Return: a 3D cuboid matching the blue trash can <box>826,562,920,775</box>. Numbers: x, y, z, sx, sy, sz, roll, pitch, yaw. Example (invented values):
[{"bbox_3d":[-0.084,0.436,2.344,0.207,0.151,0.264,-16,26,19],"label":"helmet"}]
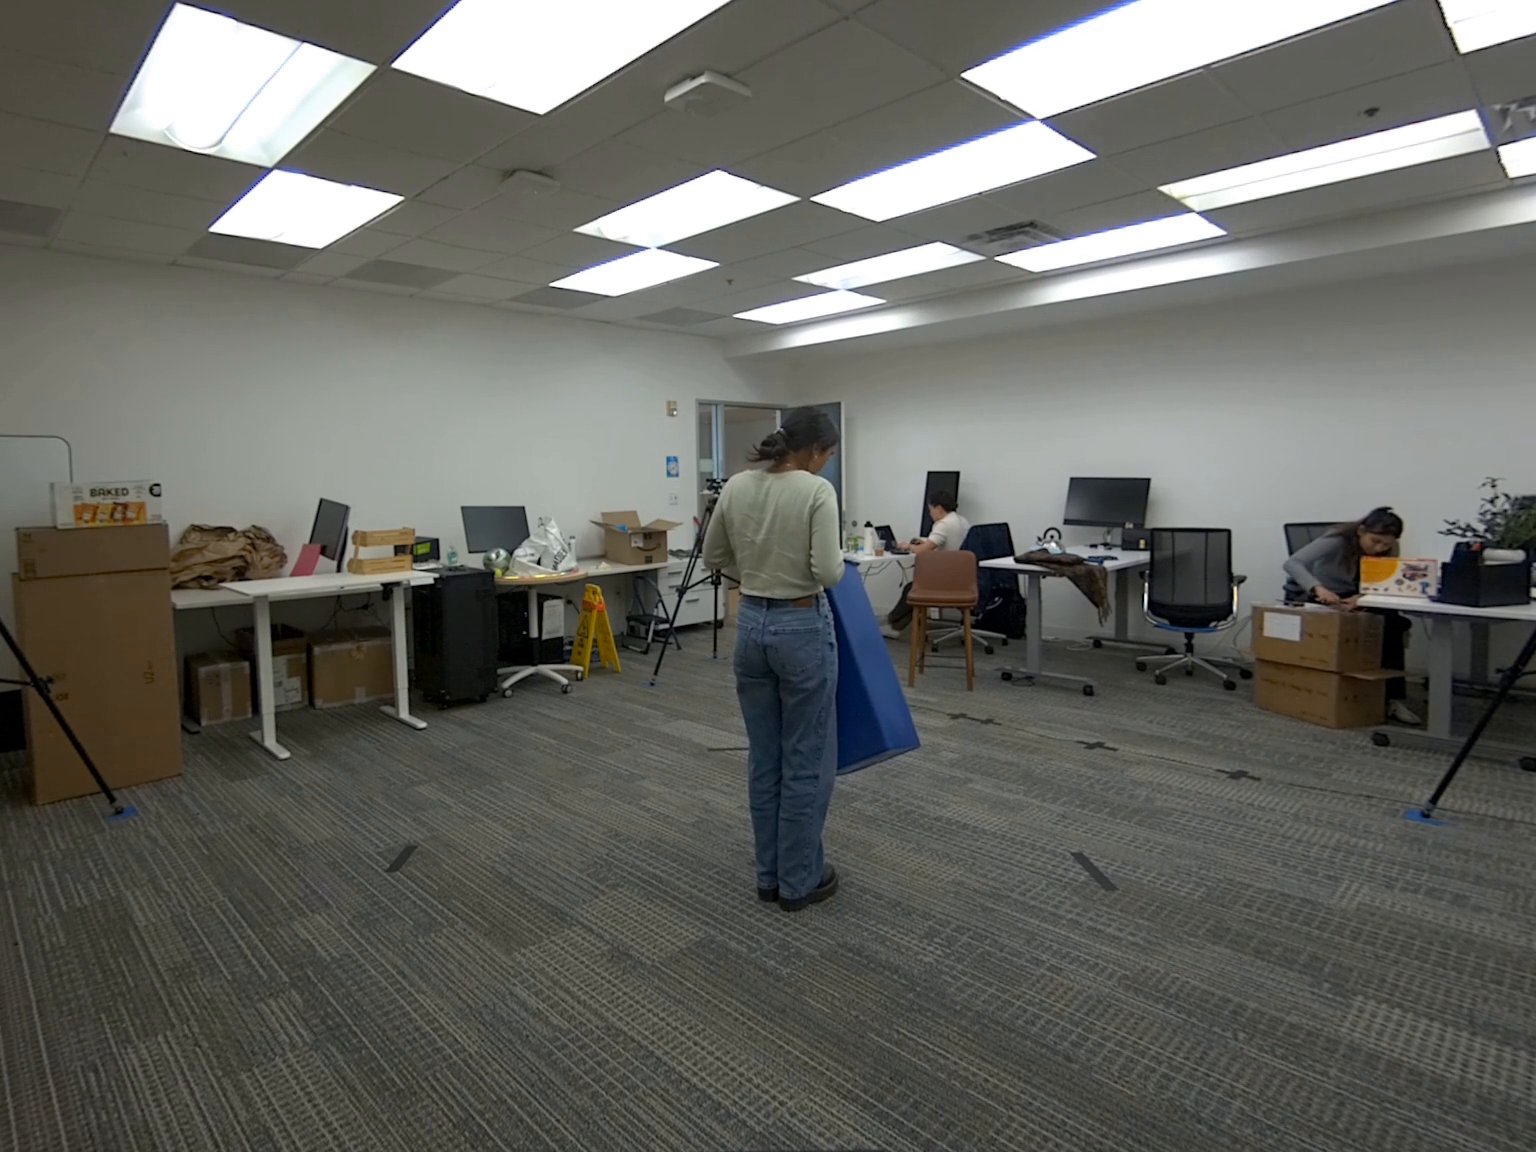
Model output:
[{"bbox_3d":[0.234,0.310,3.032,0.381,0.730,0.362,-29,-22,25],"label":"blue trash can"}]
